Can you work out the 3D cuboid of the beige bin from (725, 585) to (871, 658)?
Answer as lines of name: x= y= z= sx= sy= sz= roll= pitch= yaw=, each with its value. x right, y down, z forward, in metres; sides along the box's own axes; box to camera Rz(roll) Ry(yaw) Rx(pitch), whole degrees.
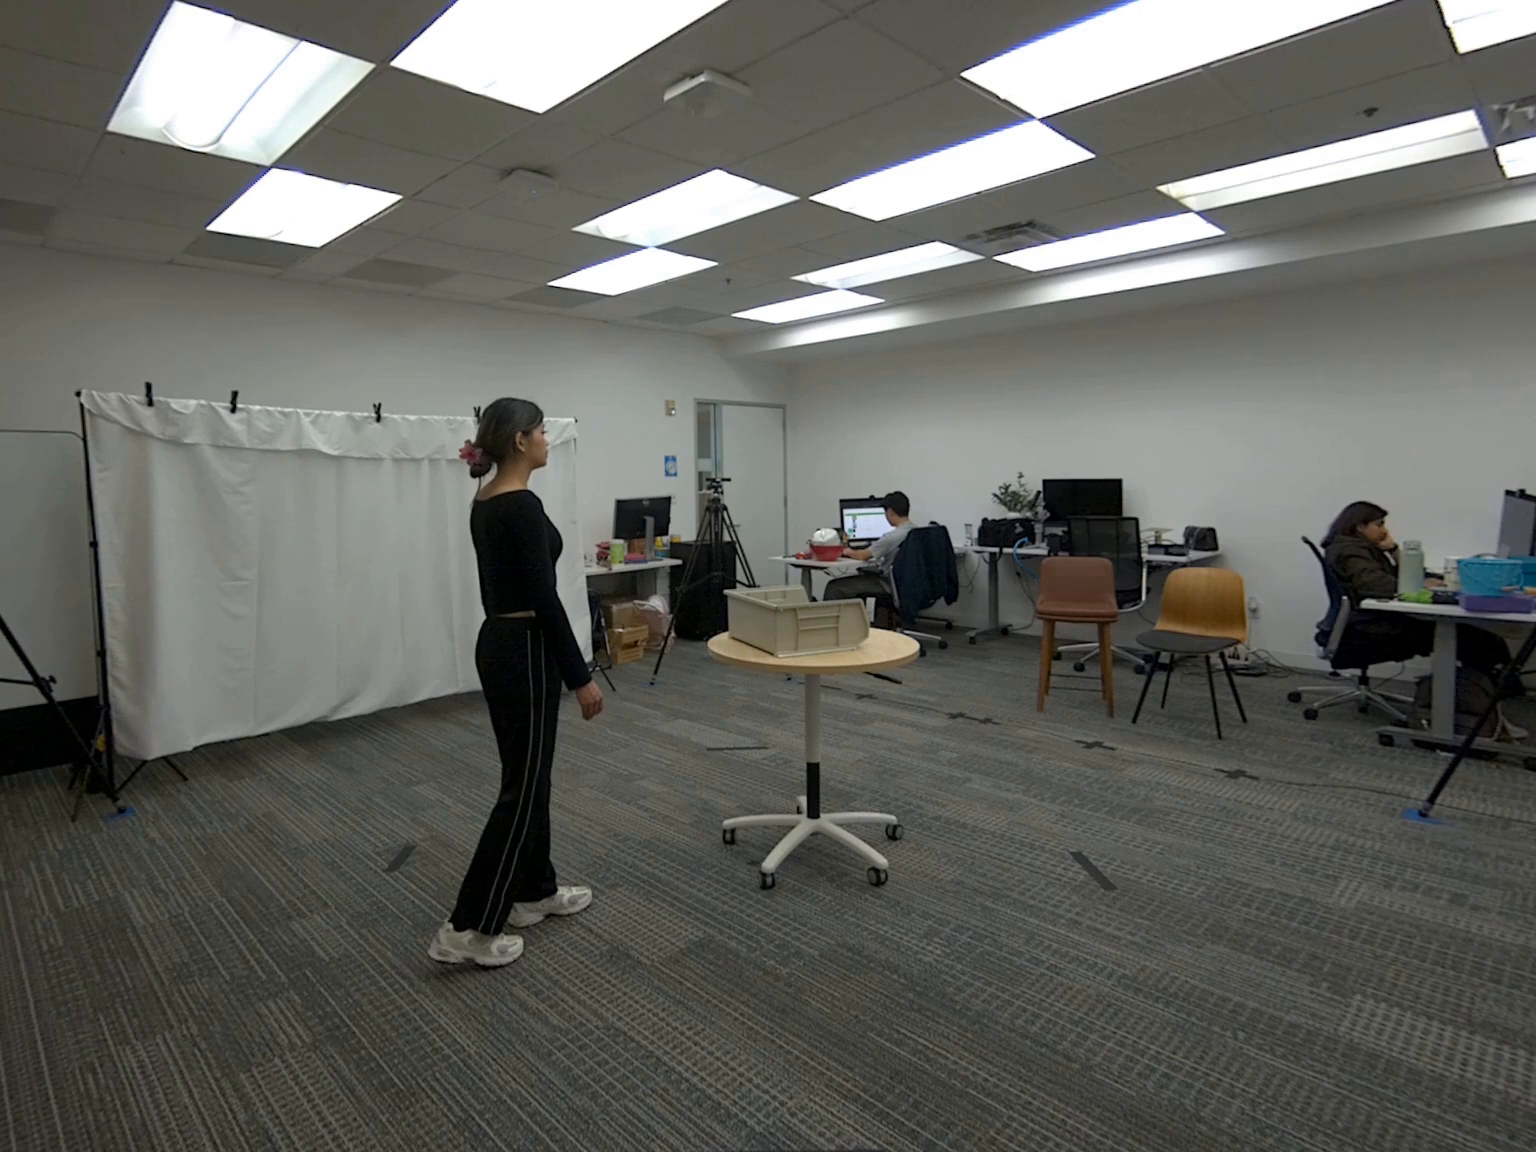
beige bin: x=0.098 y=0.157 z=3.111 sx=0.370 sy=0.188 sz=0.433 roll=-5 pitch=8 yaw=-25
